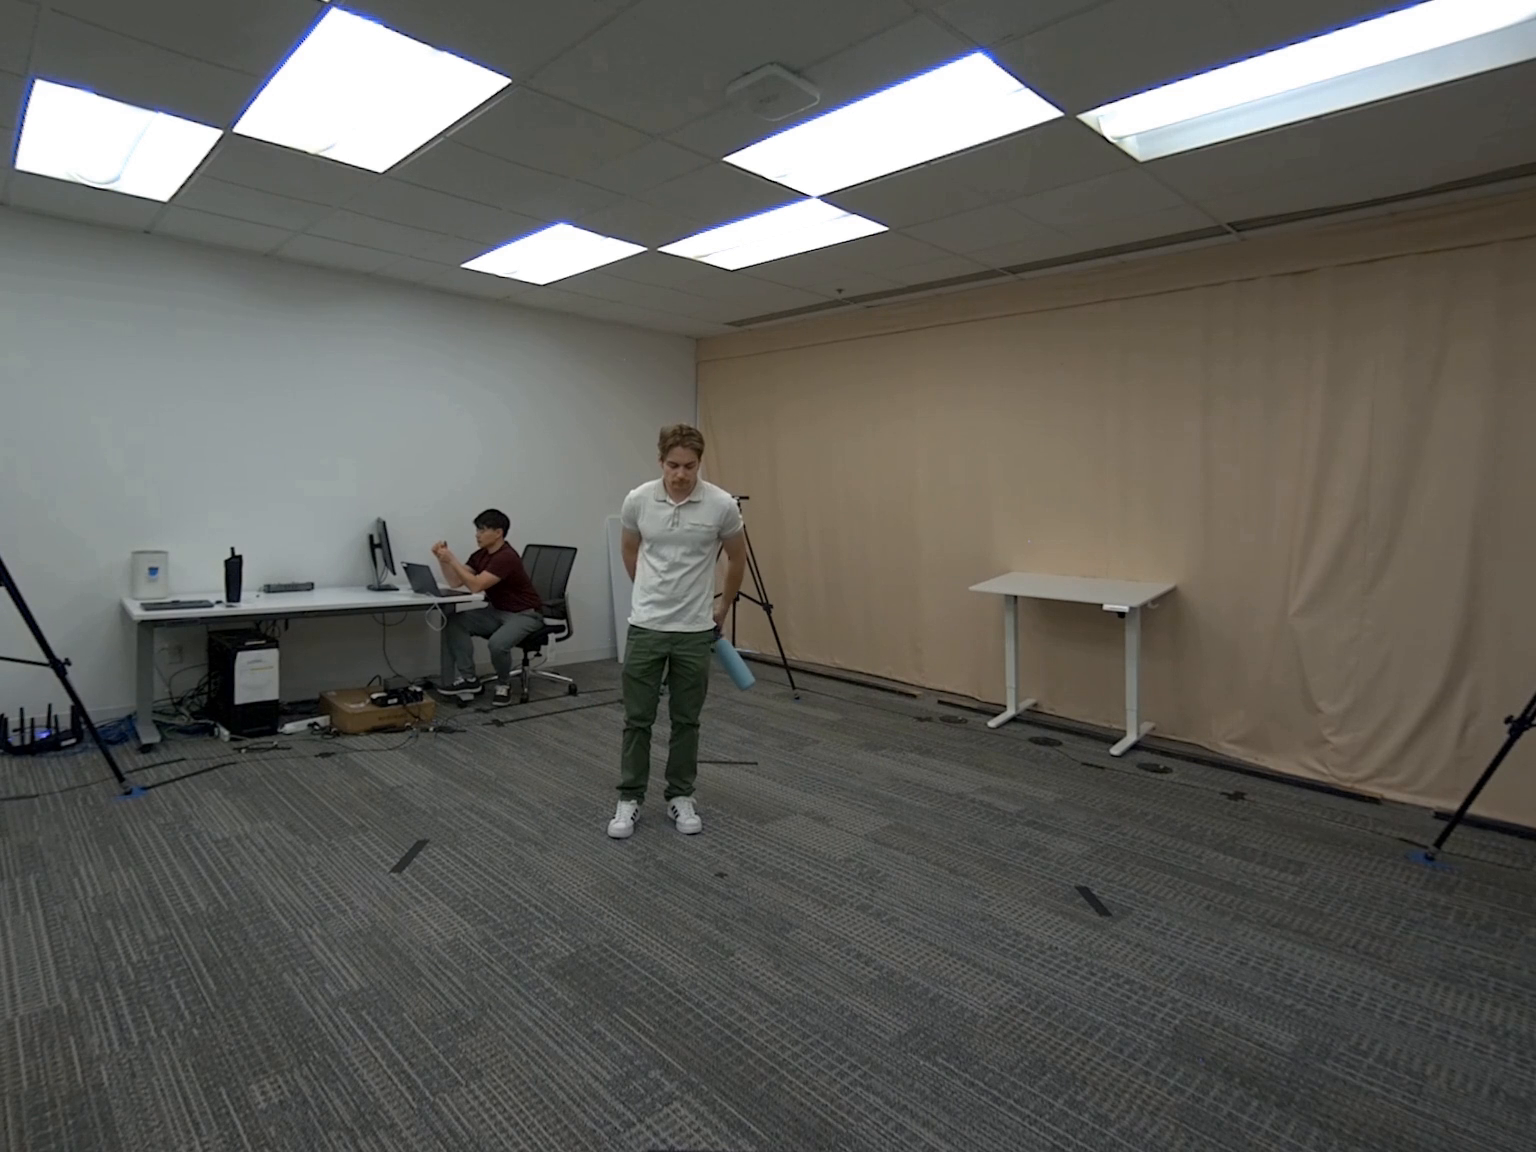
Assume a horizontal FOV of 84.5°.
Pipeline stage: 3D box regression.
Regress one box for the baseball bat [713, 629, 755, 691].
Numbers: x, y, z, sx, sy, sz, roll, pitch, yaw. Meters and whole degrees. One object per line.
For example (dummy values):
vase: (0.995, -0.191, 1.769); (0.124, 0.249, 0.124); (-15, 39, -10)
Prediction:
baseball bat: (-0.232, 0.278, 3.779); (0.089, 0.548, 0.088); (-32, -8, -6)
